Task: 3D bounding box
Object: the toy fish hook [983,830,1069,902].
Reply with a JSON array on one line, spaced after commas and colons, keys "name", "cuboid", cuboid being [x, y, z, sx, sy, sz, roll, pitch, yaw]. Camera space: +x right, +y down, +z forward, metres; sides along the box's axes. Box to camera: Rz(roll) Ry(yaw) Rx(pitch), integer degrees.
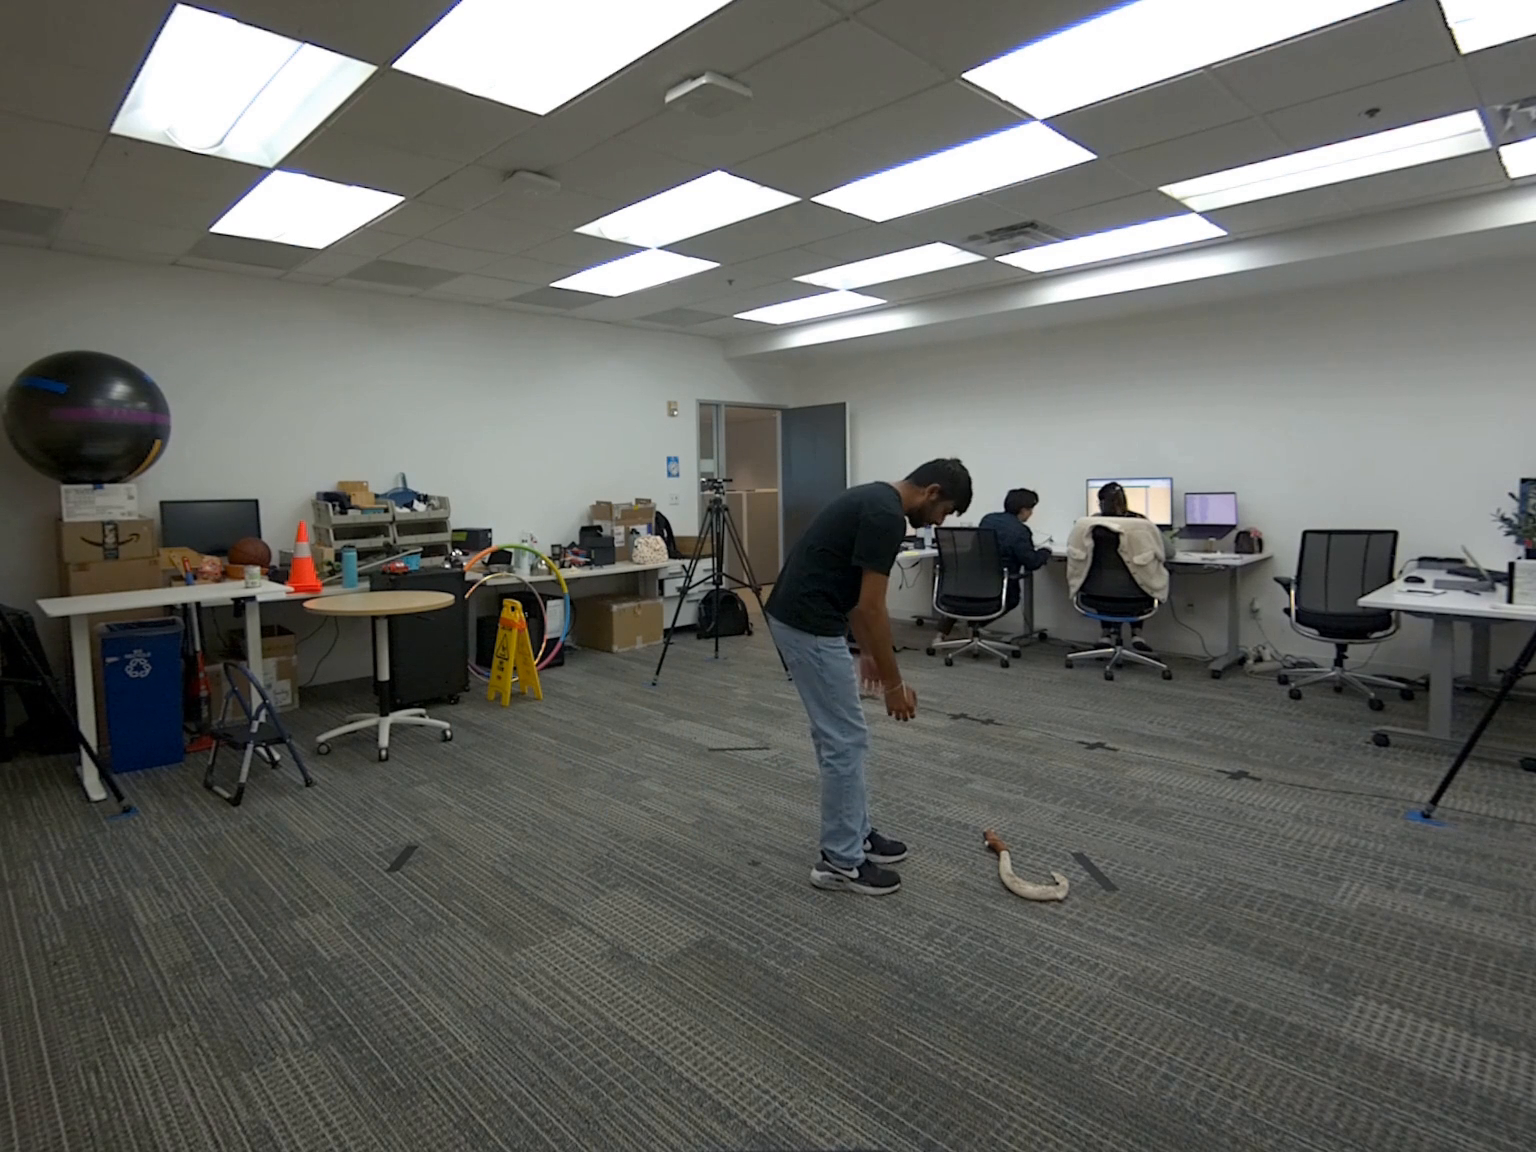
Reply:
[{"name": "toy fish hook", "cuboid": [0.907, 1.021, 3.038, 0.224, 0.048, 0.509, 6, 7, -2]}]
